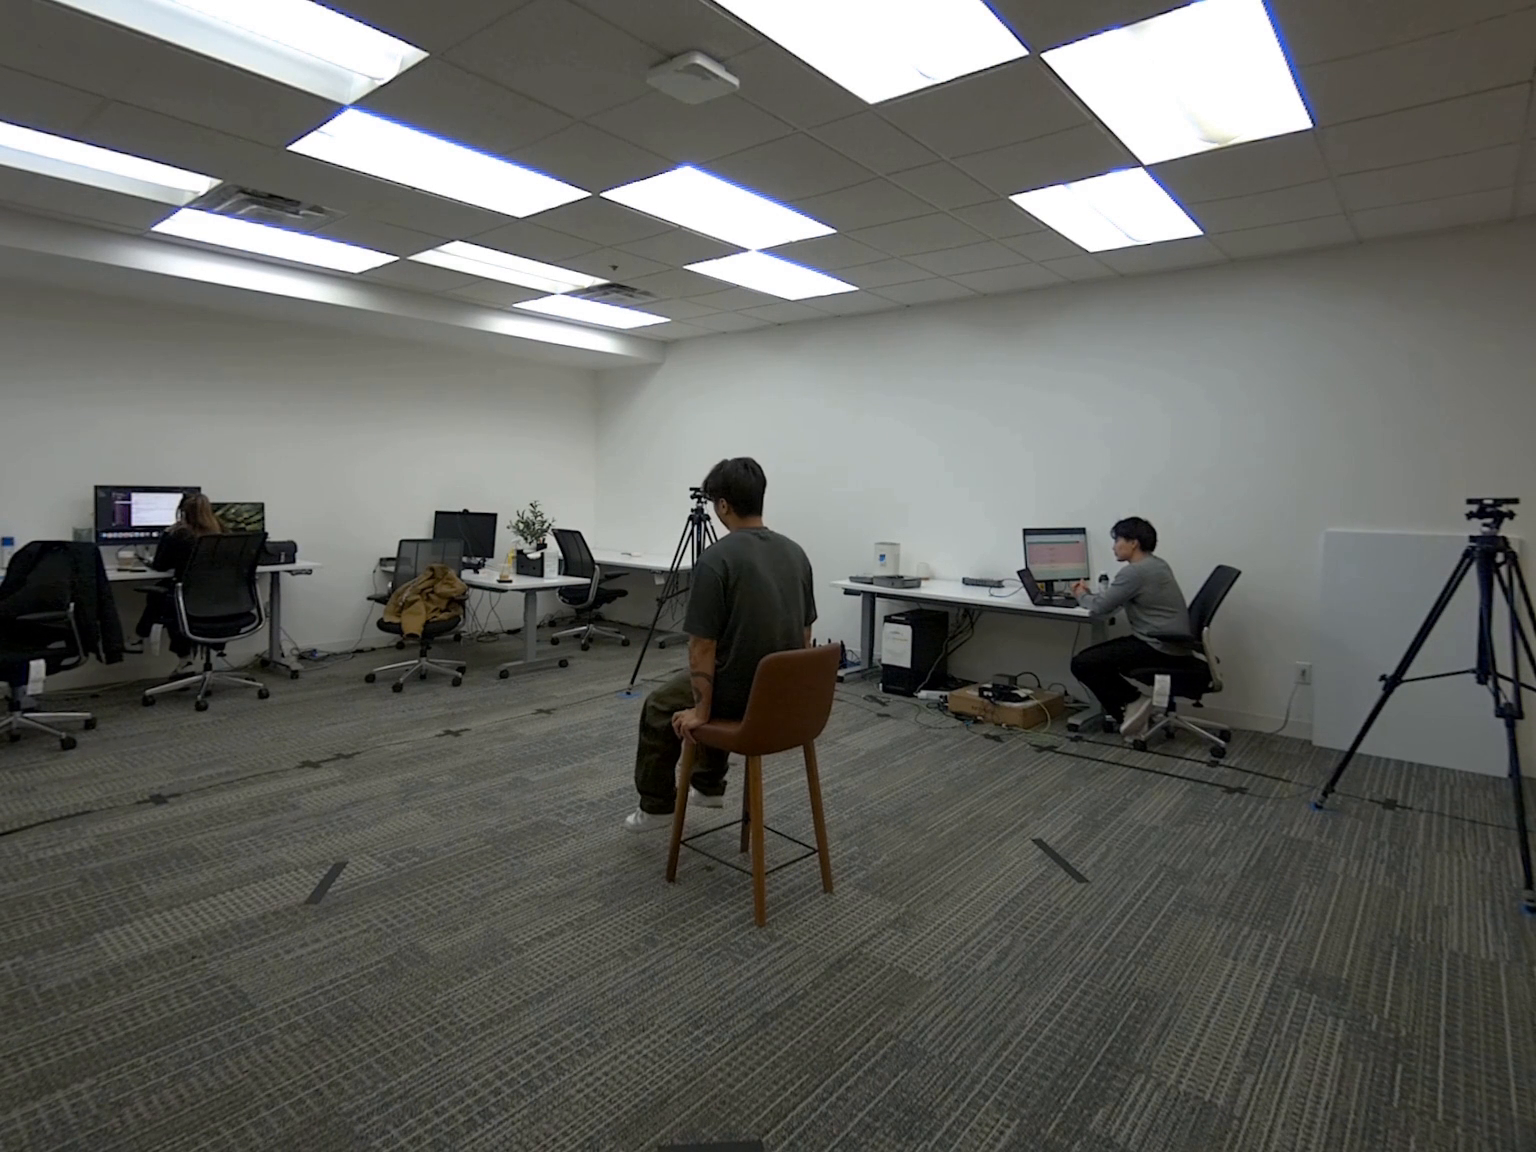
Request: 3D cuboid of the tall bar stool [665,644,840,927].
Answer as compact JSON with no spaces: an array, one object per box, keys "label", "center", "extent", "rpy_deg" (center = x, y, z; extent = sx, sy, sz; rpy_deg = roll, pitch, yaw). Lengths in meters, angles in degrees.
[{"label":"tall bar stool","center":[-0.051,0.649,2.952],"extent":[0.484,0.886,0.442],"rpy_deg":[8,7,44]}]
